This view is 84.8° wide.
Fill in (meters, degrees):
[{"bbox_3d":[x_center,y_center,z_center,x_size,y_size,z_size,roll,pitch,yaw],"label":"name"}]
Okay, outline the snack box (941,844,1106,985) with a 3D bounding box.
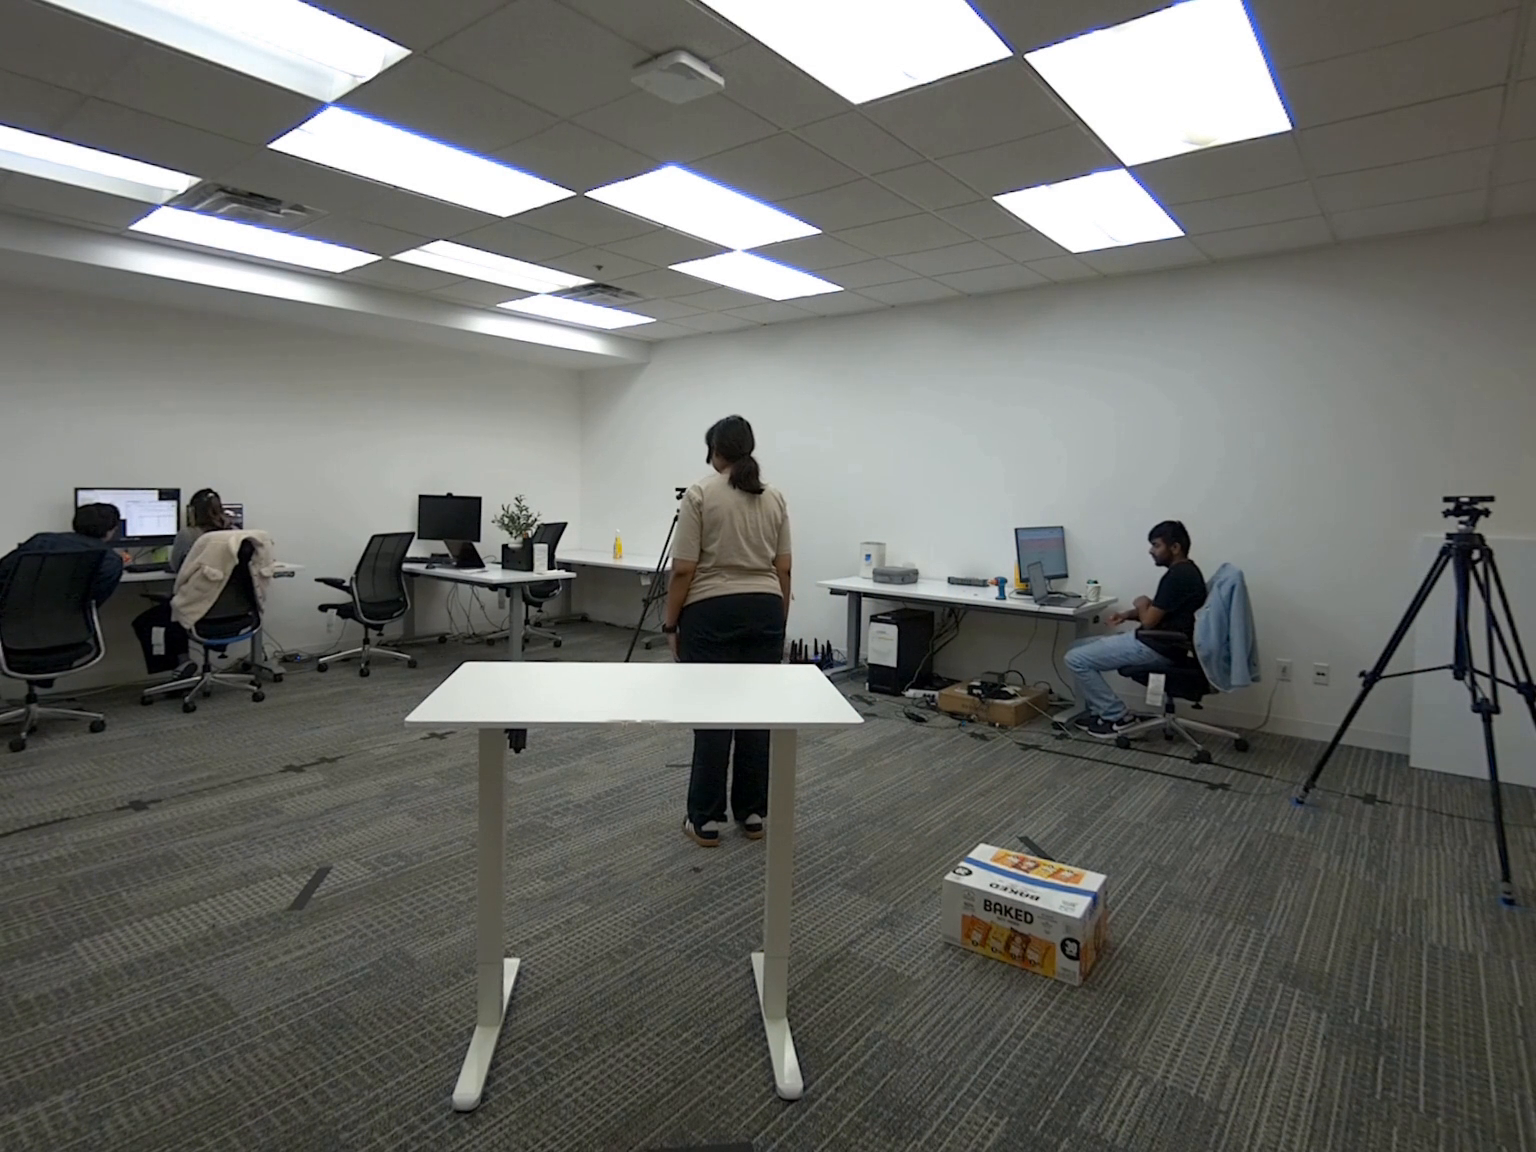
[{"bbox_3d":[0.796,1.034,2.650,0.418,0.205,0.331,4,5,34],"label":"snack box"}]
